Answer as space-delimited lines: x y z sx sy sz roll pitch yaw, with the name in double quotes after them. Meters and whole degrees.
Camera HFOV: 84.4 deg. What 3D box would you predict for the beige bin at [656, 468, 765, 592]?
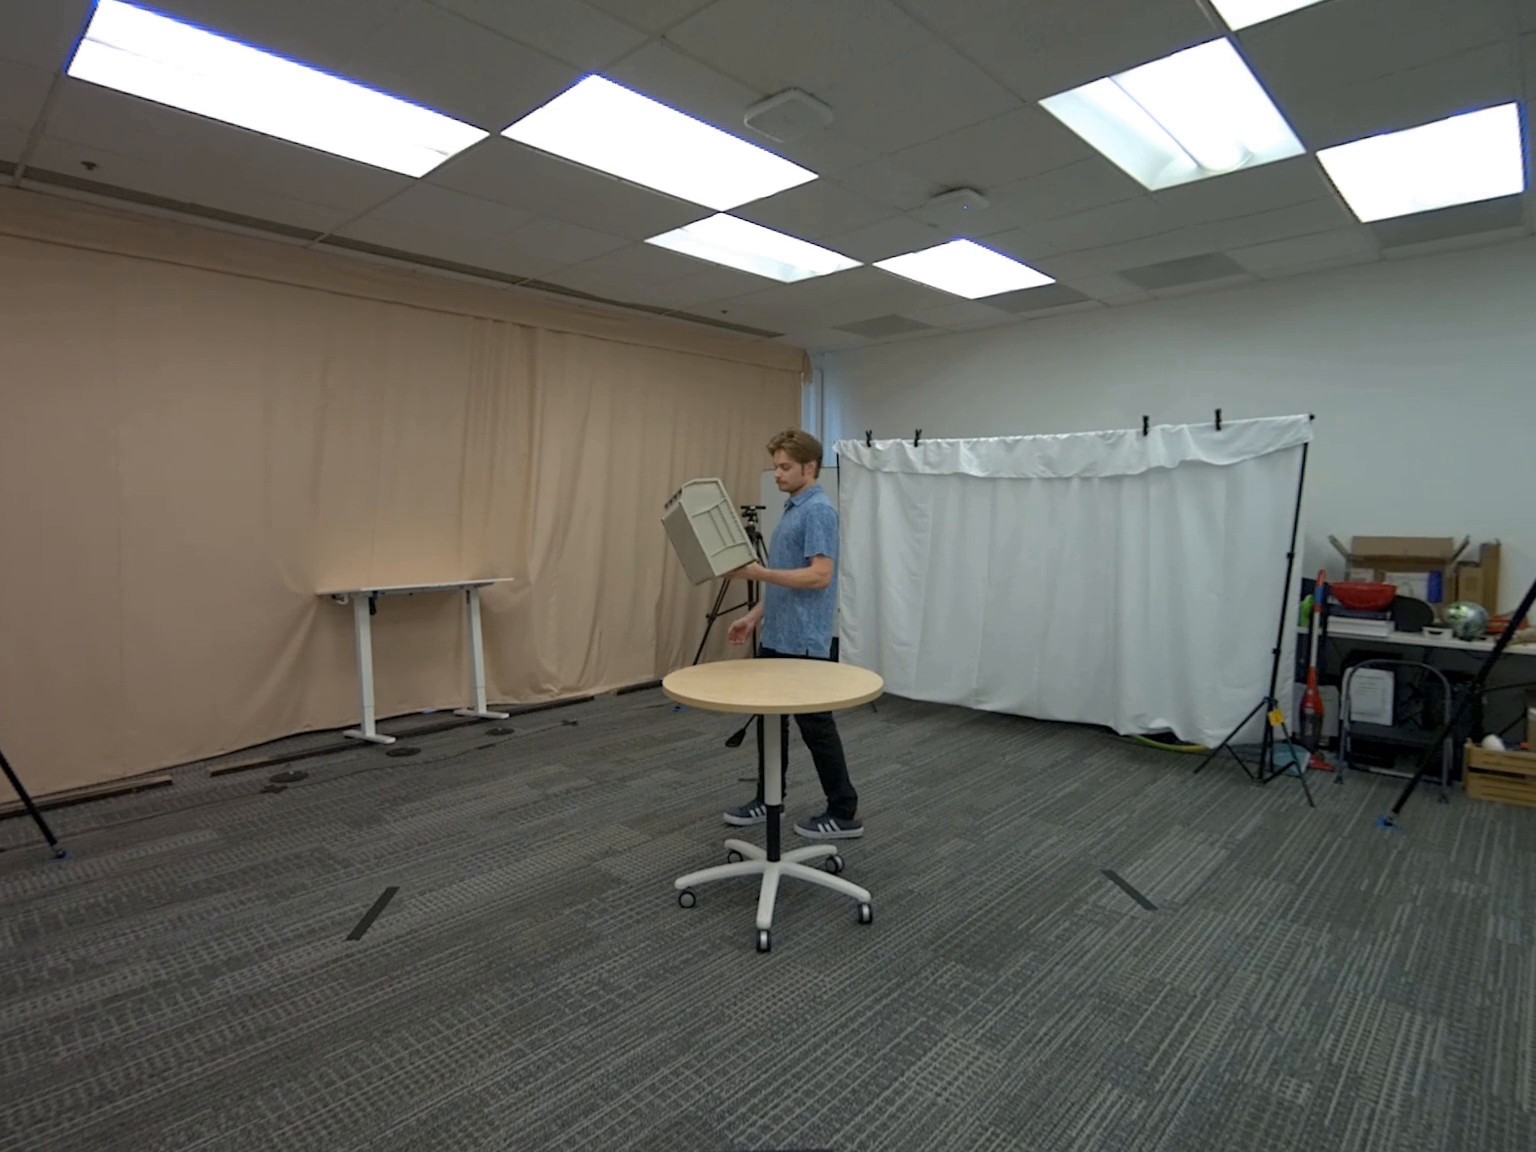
-0.241 -0.171 3.348 0.186 0.378 0.427 -25 0 -19 "beige bin"
